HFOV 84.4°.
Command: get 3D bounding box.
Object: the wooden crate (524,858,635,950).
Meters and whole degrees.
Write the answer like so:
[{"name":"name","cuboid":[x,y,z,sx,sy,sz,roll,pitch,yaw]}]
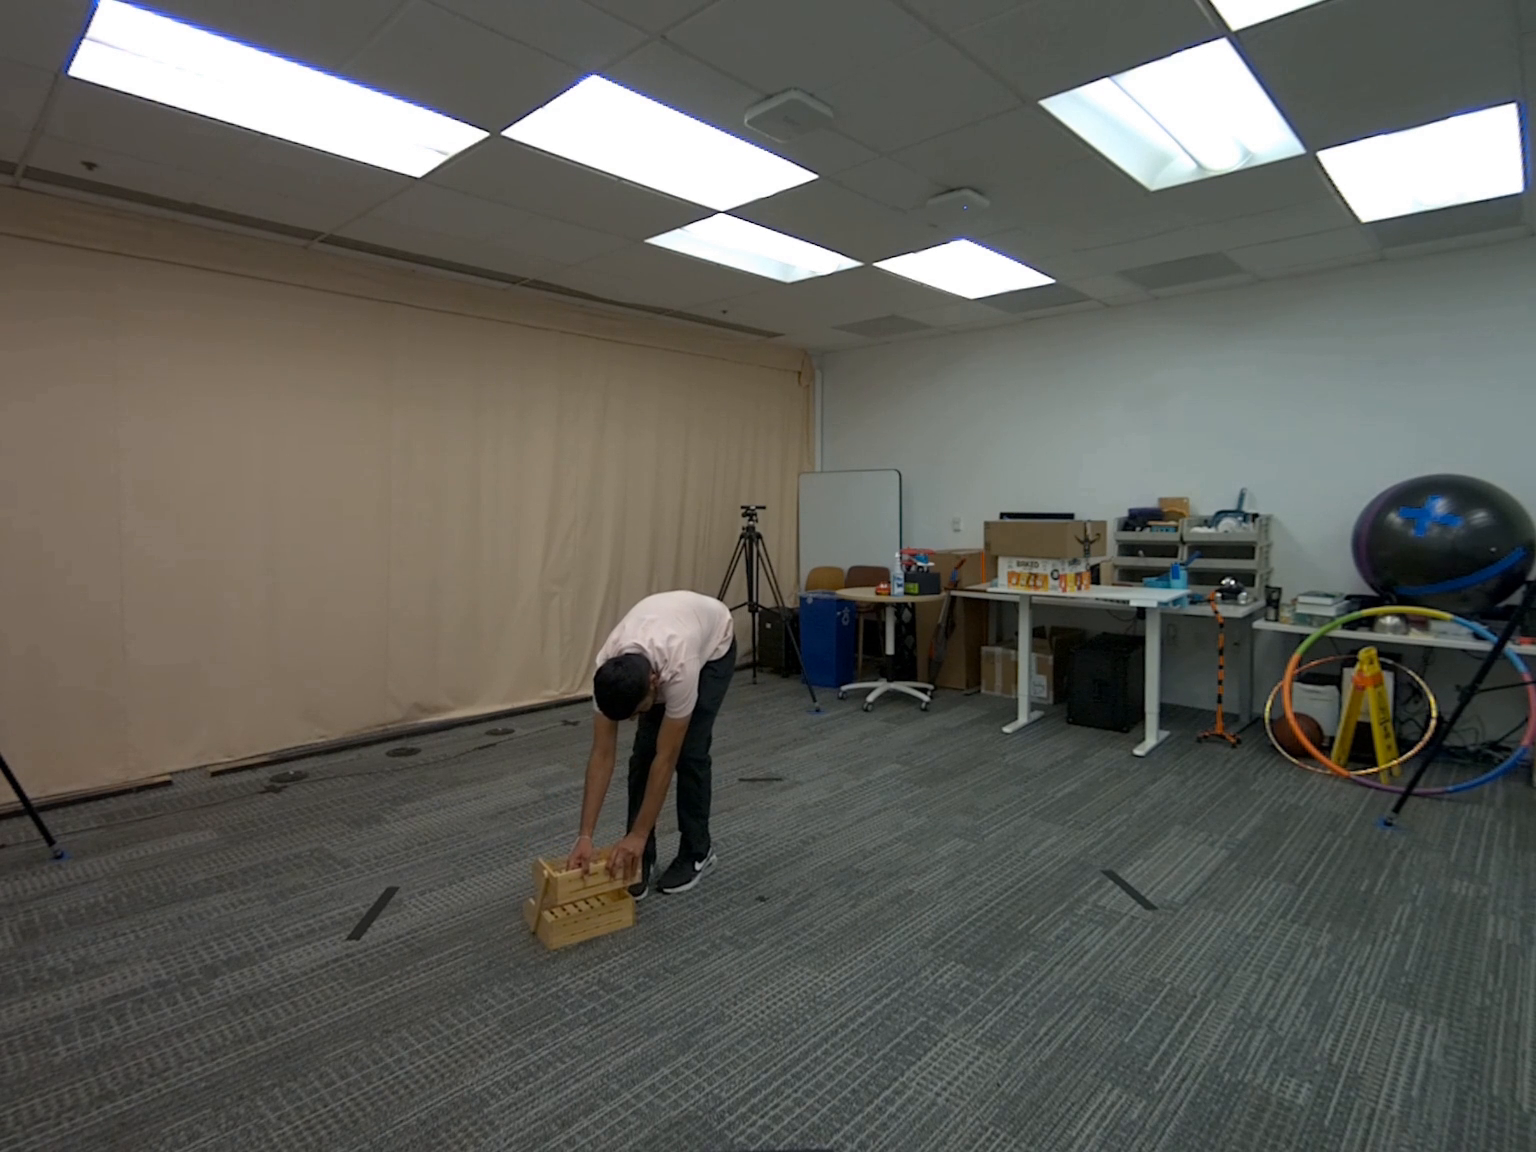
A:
[{"name":"wooden crate","cuboid":[-0.626,1.033,2.794,0.315,0.272,0.311,-2,5,-34]}]
